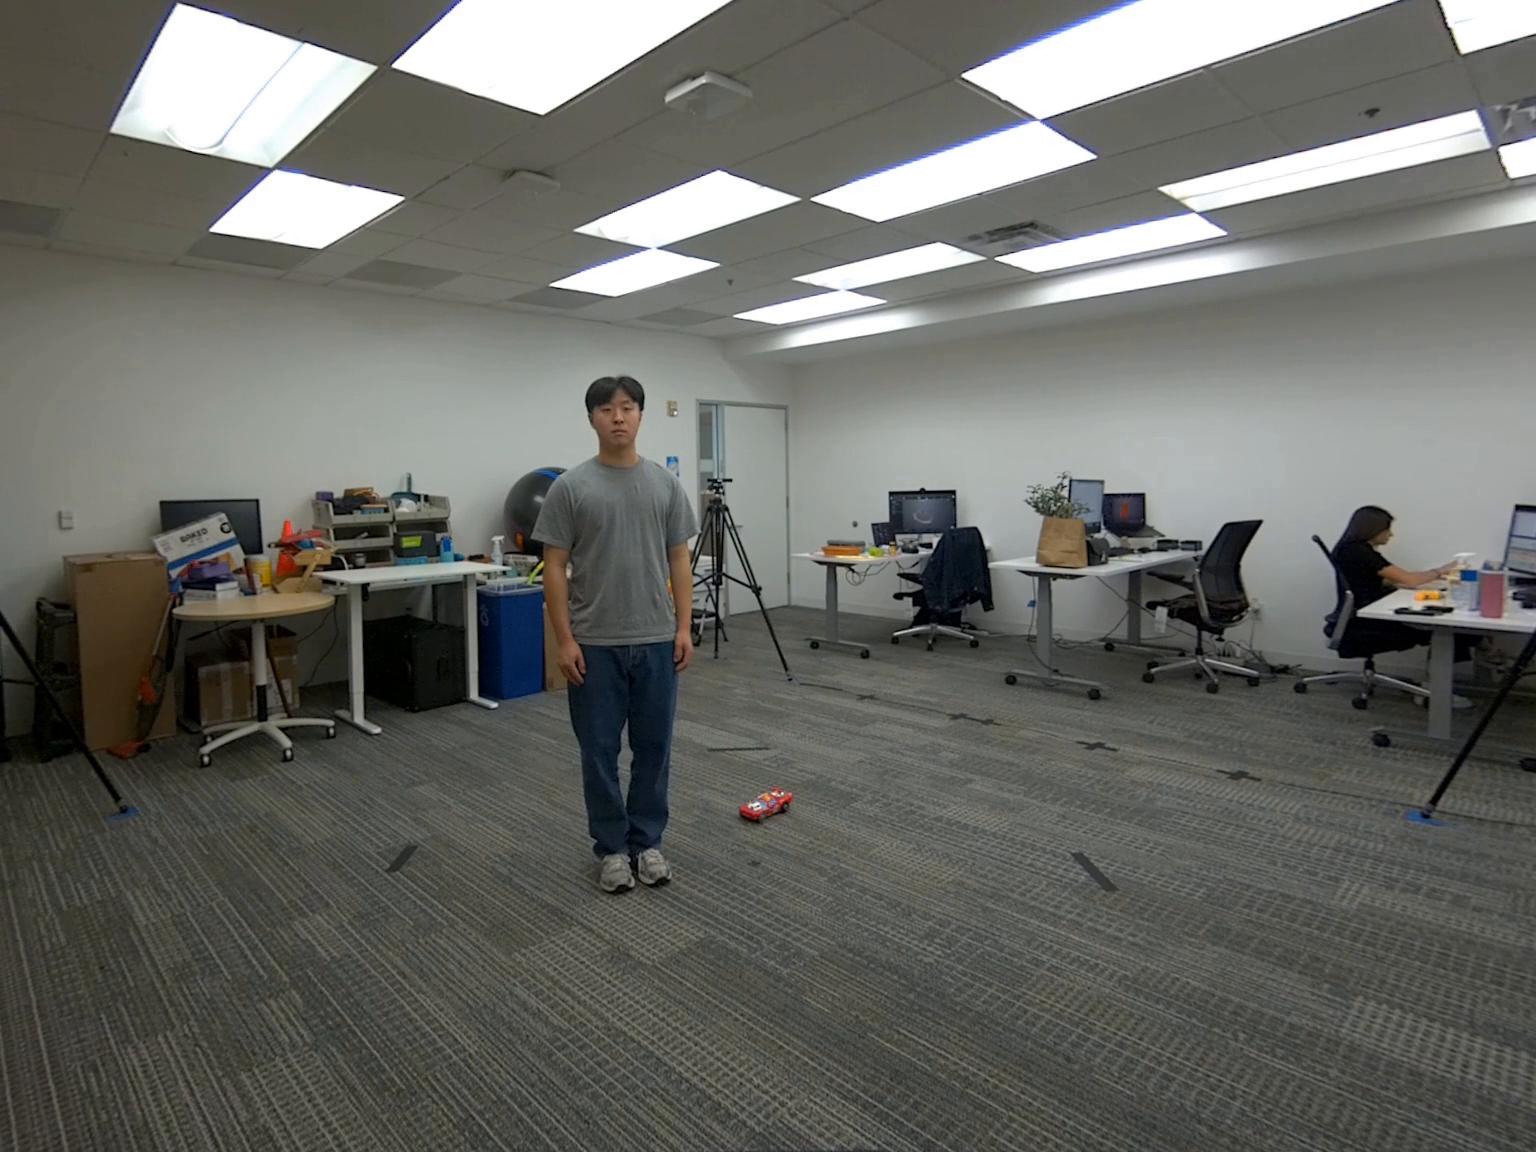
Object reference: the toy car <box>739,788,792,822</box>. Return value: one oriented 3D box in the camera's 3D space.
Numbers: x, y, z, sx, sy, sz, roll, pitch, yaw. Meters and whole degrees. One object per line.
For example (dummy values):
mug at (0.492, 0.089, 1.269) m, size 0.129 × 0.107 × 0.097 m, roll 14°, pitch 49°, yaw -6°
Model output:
toy car at (0.003, 0.958, 3.572) m, size 0.134 × 0.082 × 0.250 m, roll 5°, pitch 20°, yaw 43°
